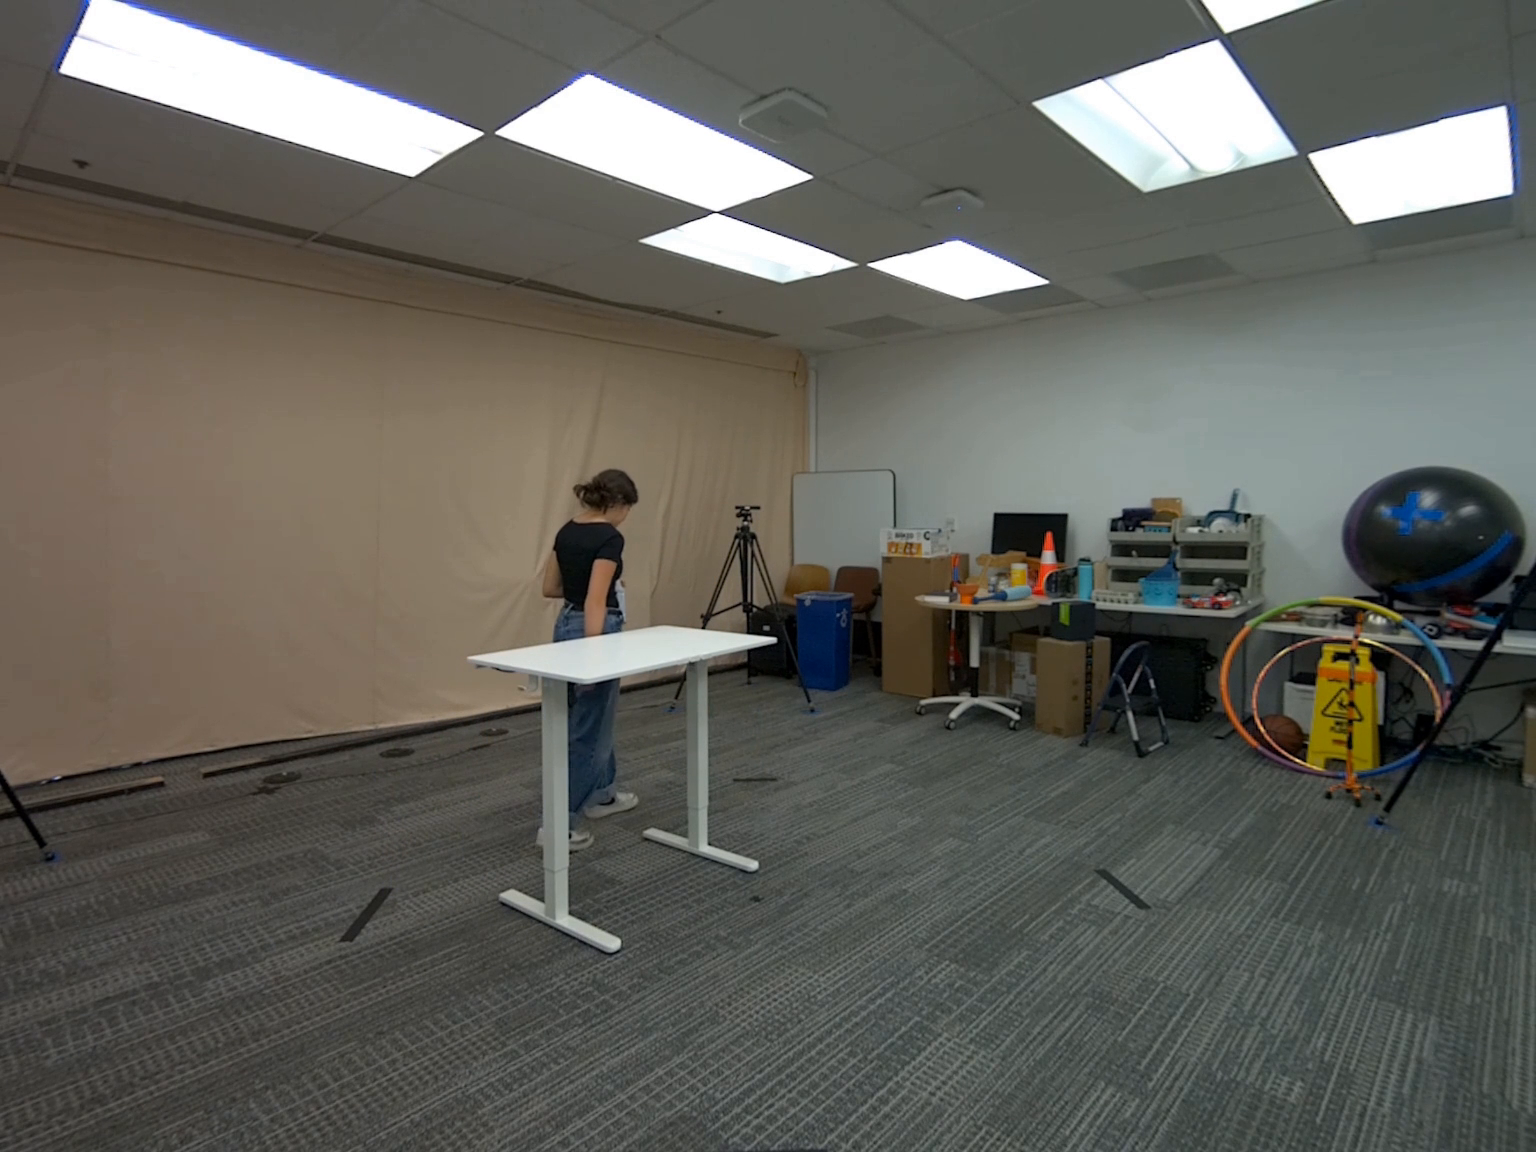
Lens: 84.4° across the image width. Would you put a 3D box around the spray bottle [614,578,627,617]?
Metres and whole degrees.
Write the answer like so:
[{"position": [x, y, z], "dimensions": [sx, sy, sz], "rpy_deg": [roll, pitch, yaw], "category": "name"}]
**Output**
[{"position": [-0.698, 0.071, 3.796], "dimensions": [0.087, 0.297, 0.089], "rpy_deg": [-1, 0, -32], "category": "spray bottle"}]
